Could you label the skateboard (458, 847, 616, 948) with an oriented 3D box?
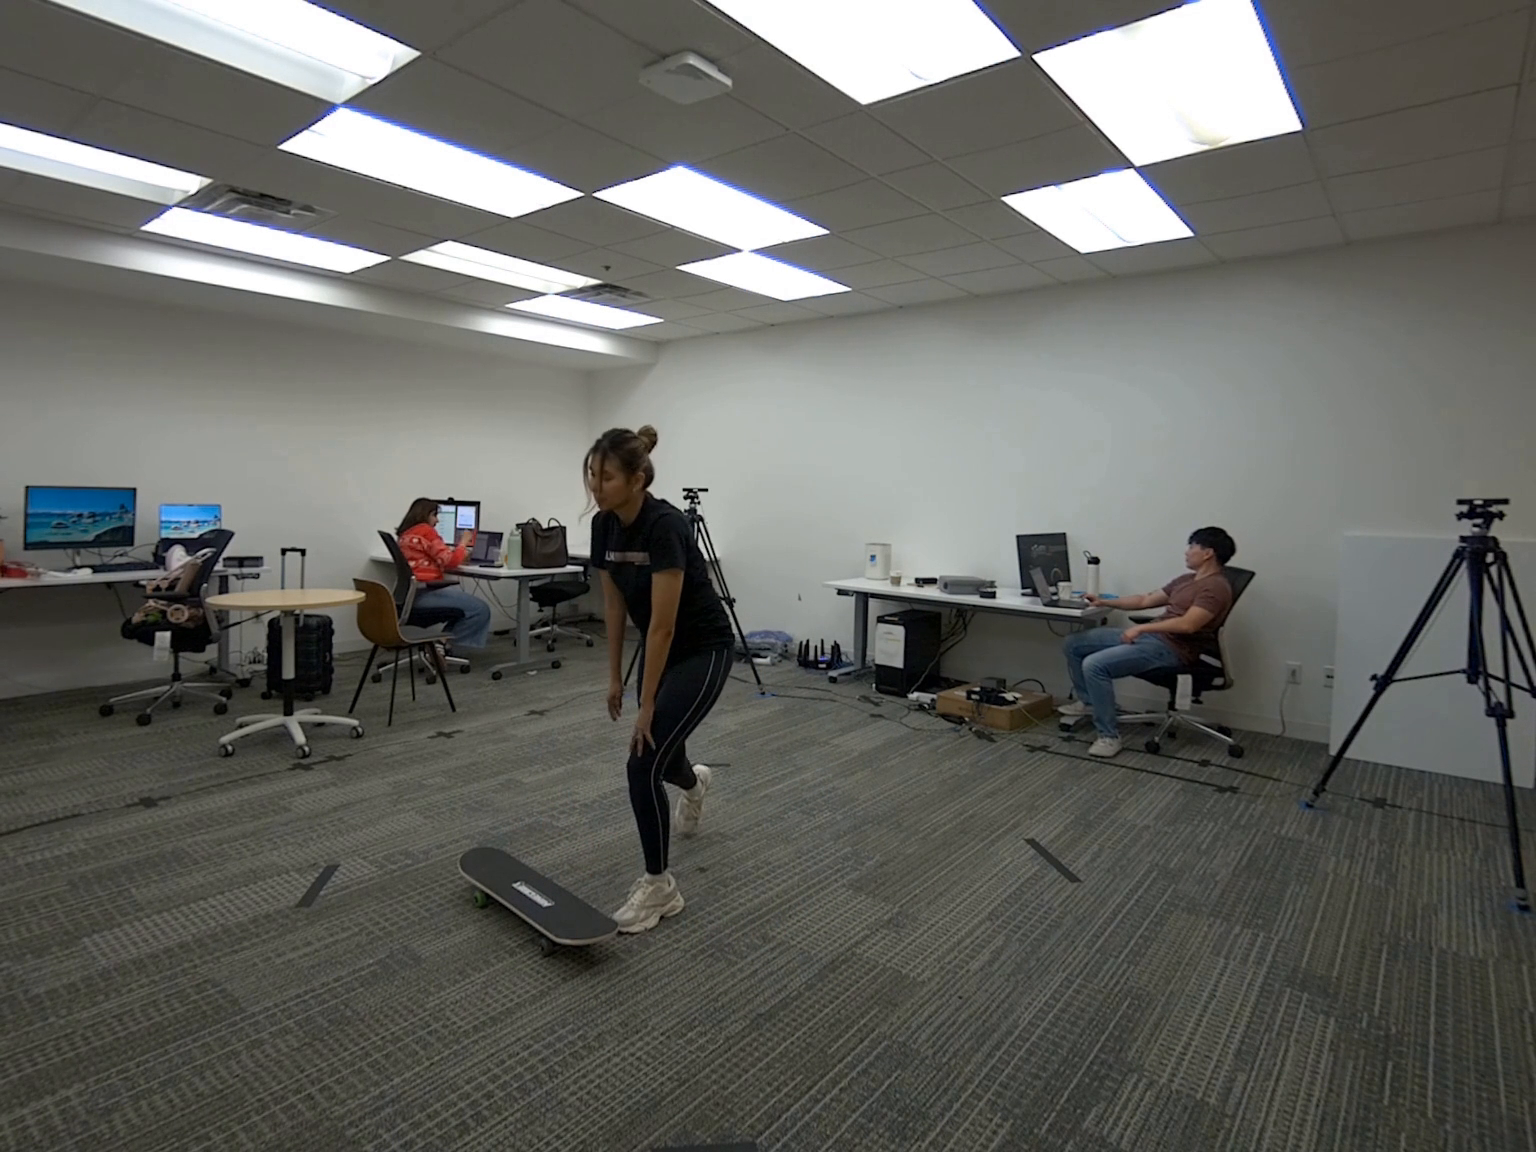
[{"bbox_3d":[-0.754,1.040,2.713,0.813,0.110,0.187,6,6,44],"label":"skateboard"}]
